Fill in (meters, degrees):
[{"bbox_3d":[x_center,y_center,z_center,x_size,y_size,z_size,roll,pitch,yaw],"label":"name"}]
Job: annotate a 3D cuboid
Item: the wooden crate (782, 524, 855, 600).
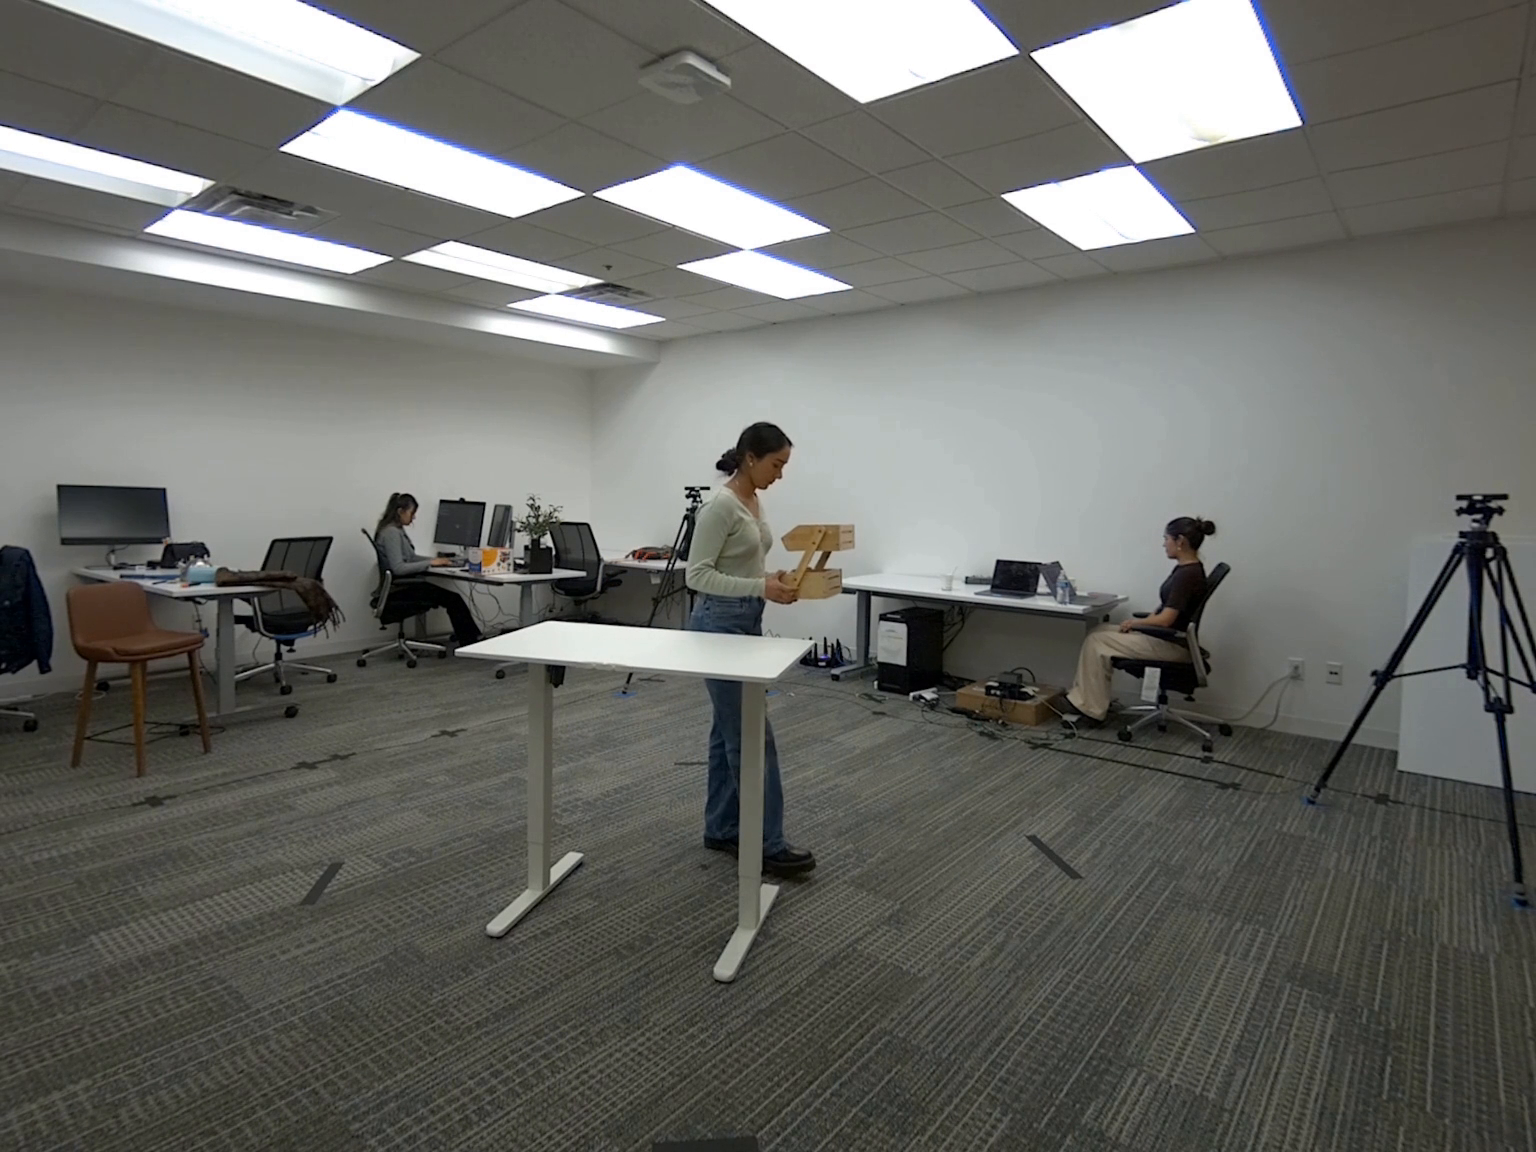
[{"bbox_3d":[0.133,-0.064,3.143,0.308,0.273,0.319,-2,3,19],"label":"wooden crate"}]
